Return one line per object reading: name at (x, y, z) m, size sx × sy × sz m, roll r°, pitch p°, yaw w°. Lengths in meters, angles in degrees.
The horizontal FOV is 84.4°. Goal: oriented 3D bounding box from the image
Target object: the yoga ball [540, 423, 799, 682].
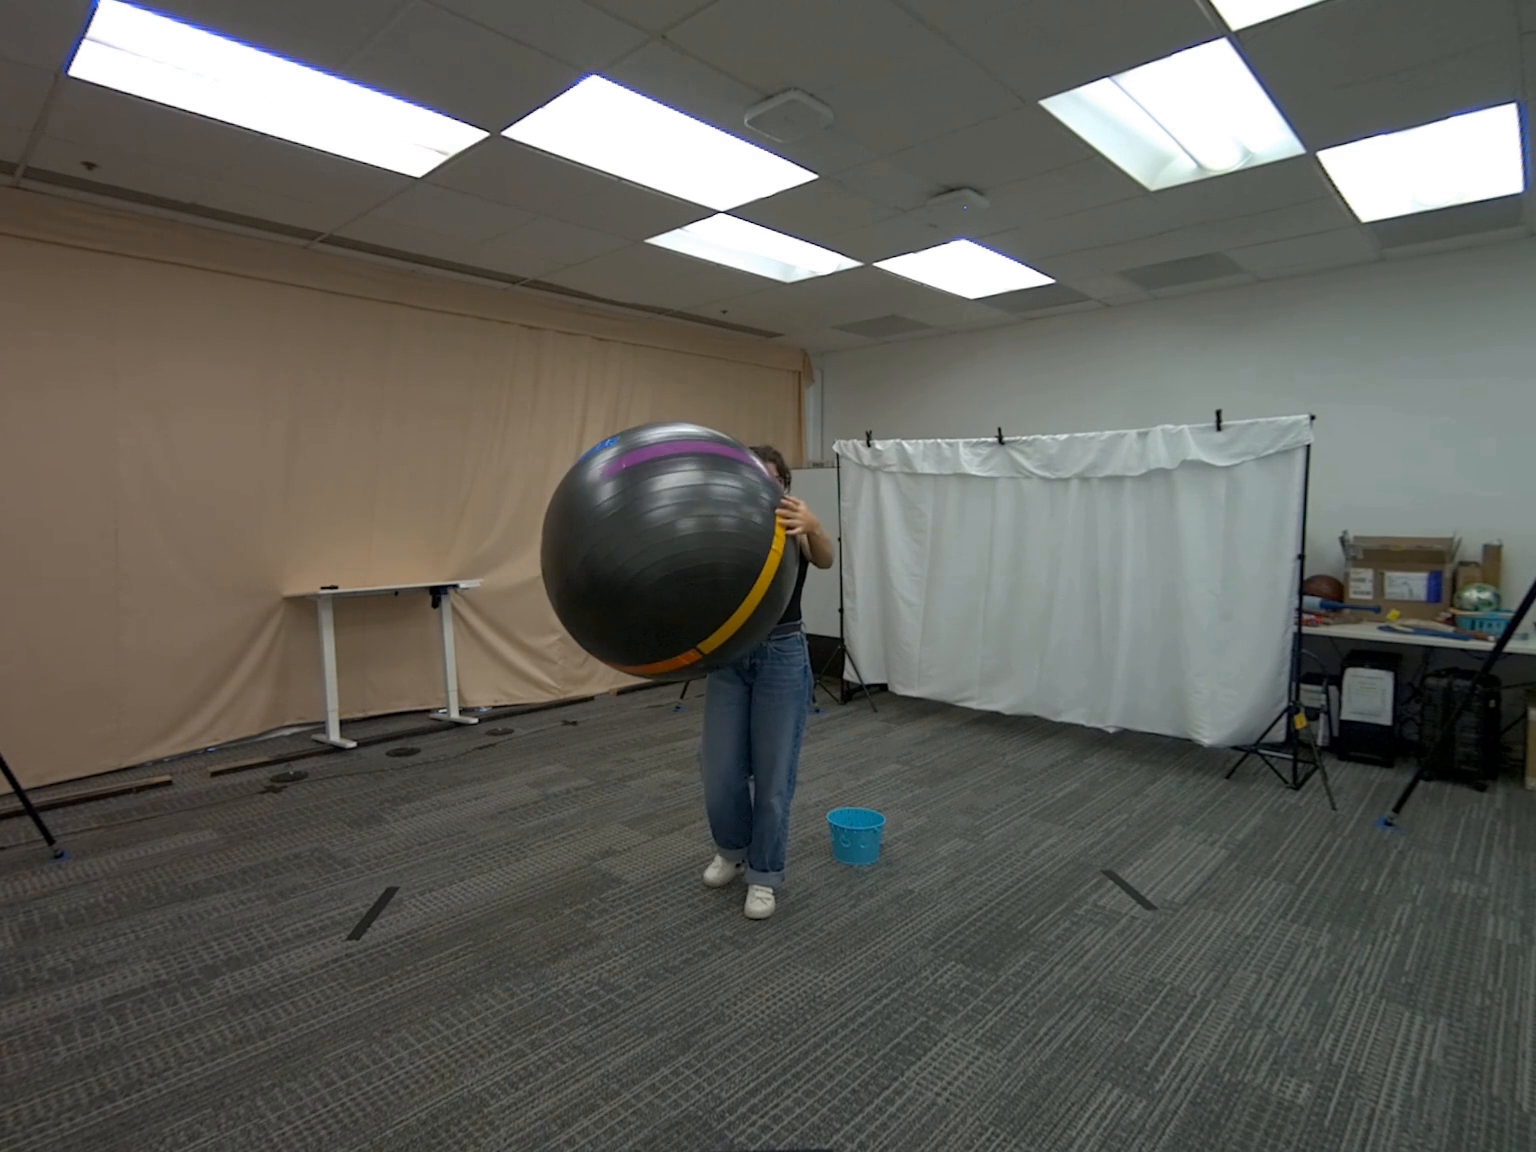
yoga ball at (-0.295, -0.067, 2.479) m, size 0.757 × 0.756 × 0.760 m, roll 0°, pitch 4°, yaw -2°
